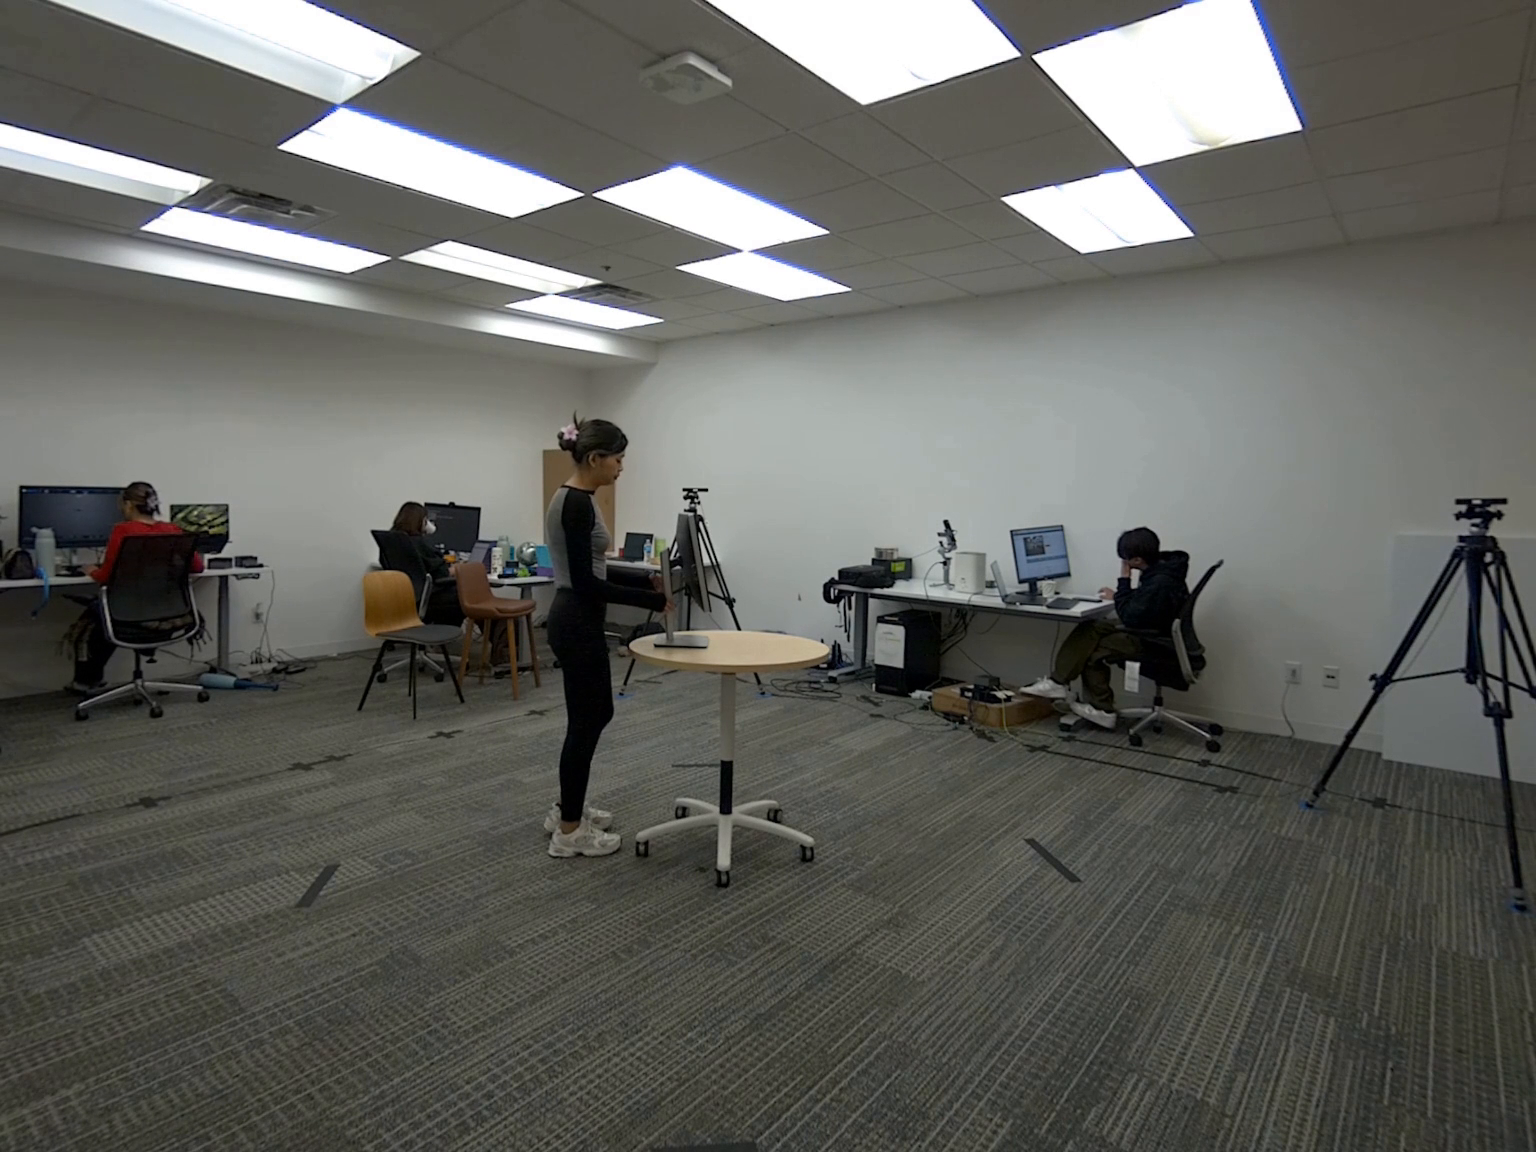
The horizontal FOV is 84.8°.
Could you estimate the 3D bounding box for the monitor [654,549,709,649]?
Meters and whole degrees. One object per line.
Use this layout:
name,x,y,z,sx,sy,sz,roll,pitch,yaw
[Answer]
monitor,-0.344,0.012,3.300,0.185,0.521,0.546,2,3,-11
